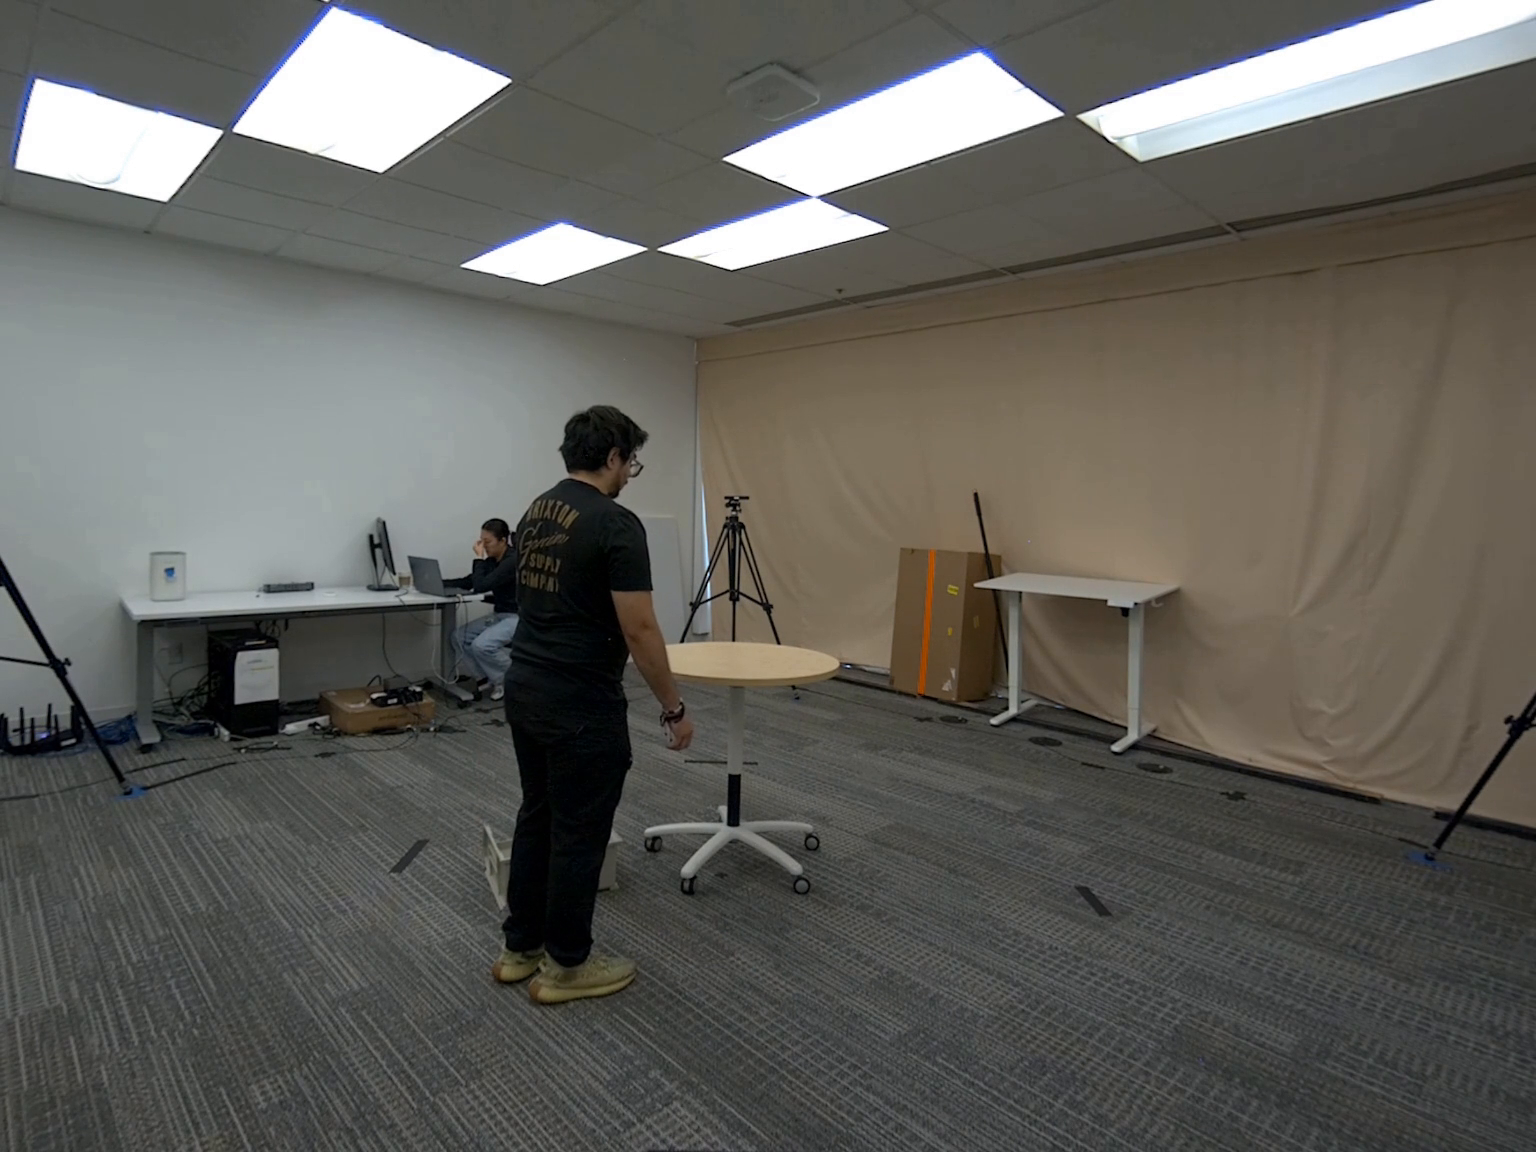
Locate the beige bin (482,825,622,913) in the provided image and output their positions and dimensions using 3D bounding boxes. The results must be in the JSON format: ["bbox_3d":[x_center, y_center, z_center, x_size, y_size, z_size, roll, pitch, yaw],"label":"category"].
[{"bbox_3d":[-0.793,1.012,3.034,0.414,0.188,0.386,-1,6,-28],"label":"beige bin"}]
